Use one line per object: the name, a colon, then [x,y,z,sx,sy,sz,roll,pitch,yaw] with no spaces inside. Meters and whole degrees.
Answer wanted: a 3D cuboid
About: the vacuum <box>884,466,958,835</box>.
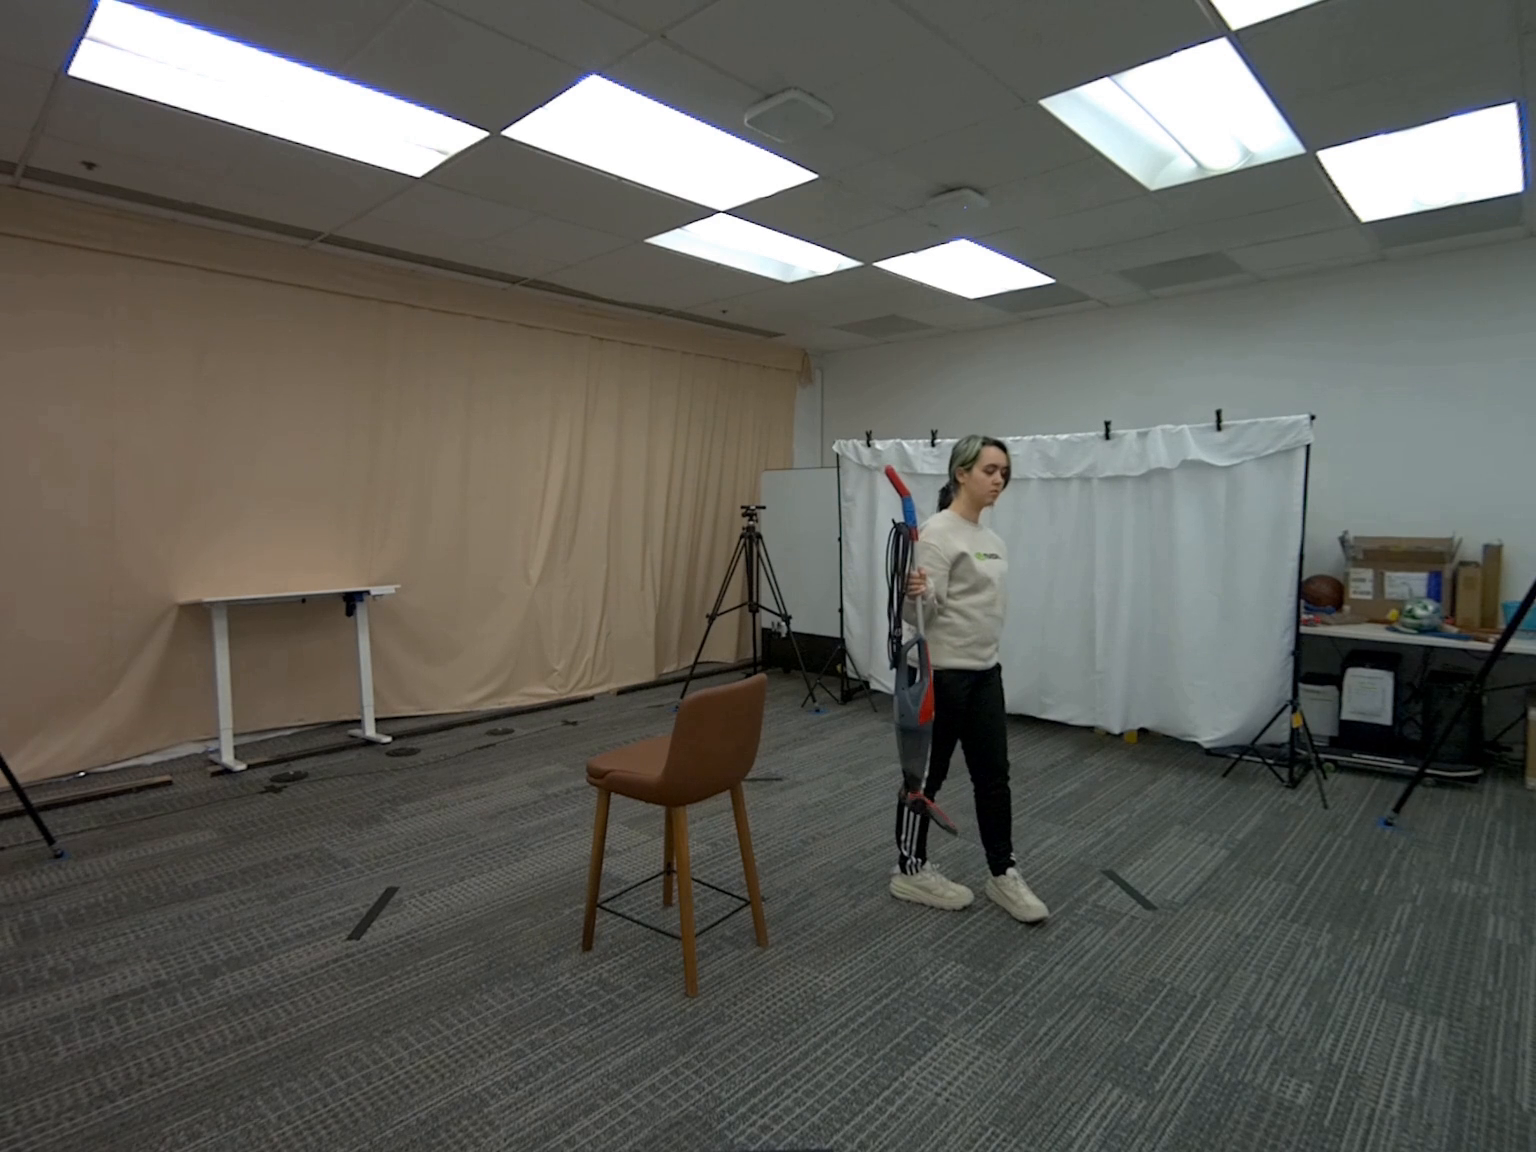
vacuum: [0.435,0.190,2.563,0.143,1.049,0.255,-7,0,-9]
